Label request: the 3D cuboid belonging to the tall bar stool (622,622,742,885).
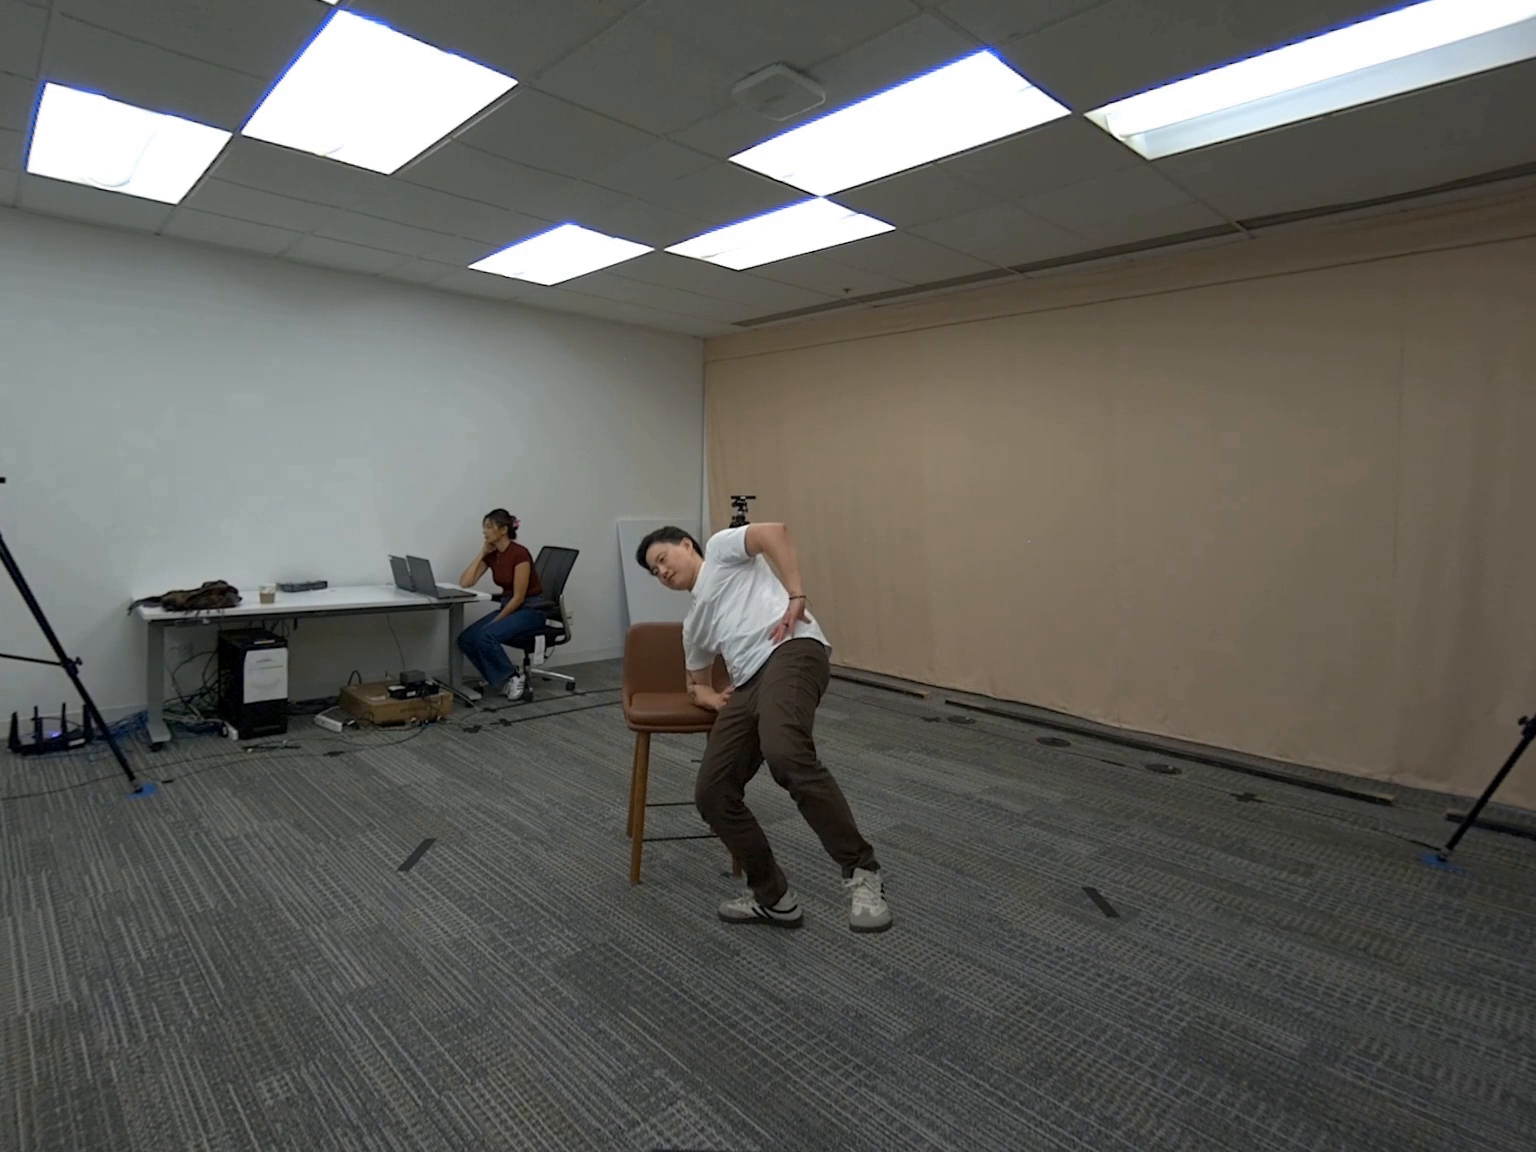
[{"bbox_3d":[-0.342,0.648,3.240,0.452,0.888,0.473,1,2,-13],"label":"tall bar stool"}]
